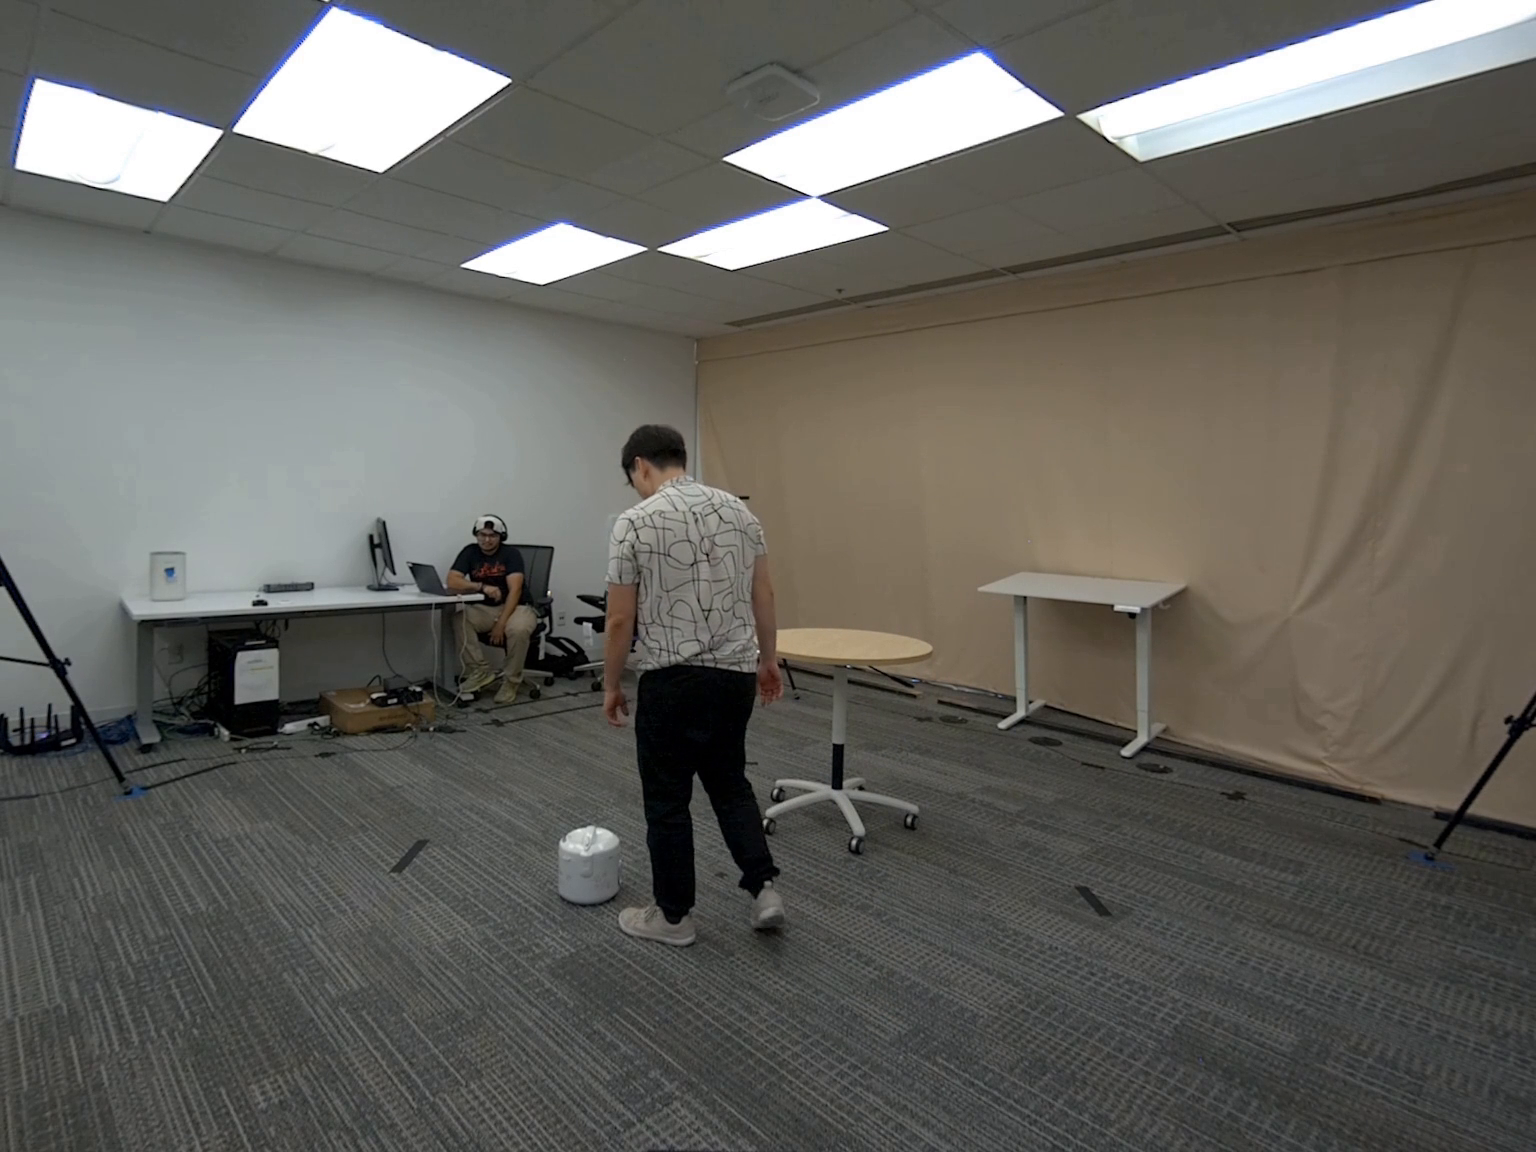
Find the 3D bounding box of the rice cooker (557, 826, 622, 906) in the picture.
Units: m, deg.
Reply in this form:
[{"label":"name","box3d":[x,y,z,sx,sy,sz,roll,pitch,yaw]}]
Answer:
[{"label":"rice cooker","box3d":[-0.624,0.992,2.925,0.217,0.232,0.222,1,4,-3]}]
